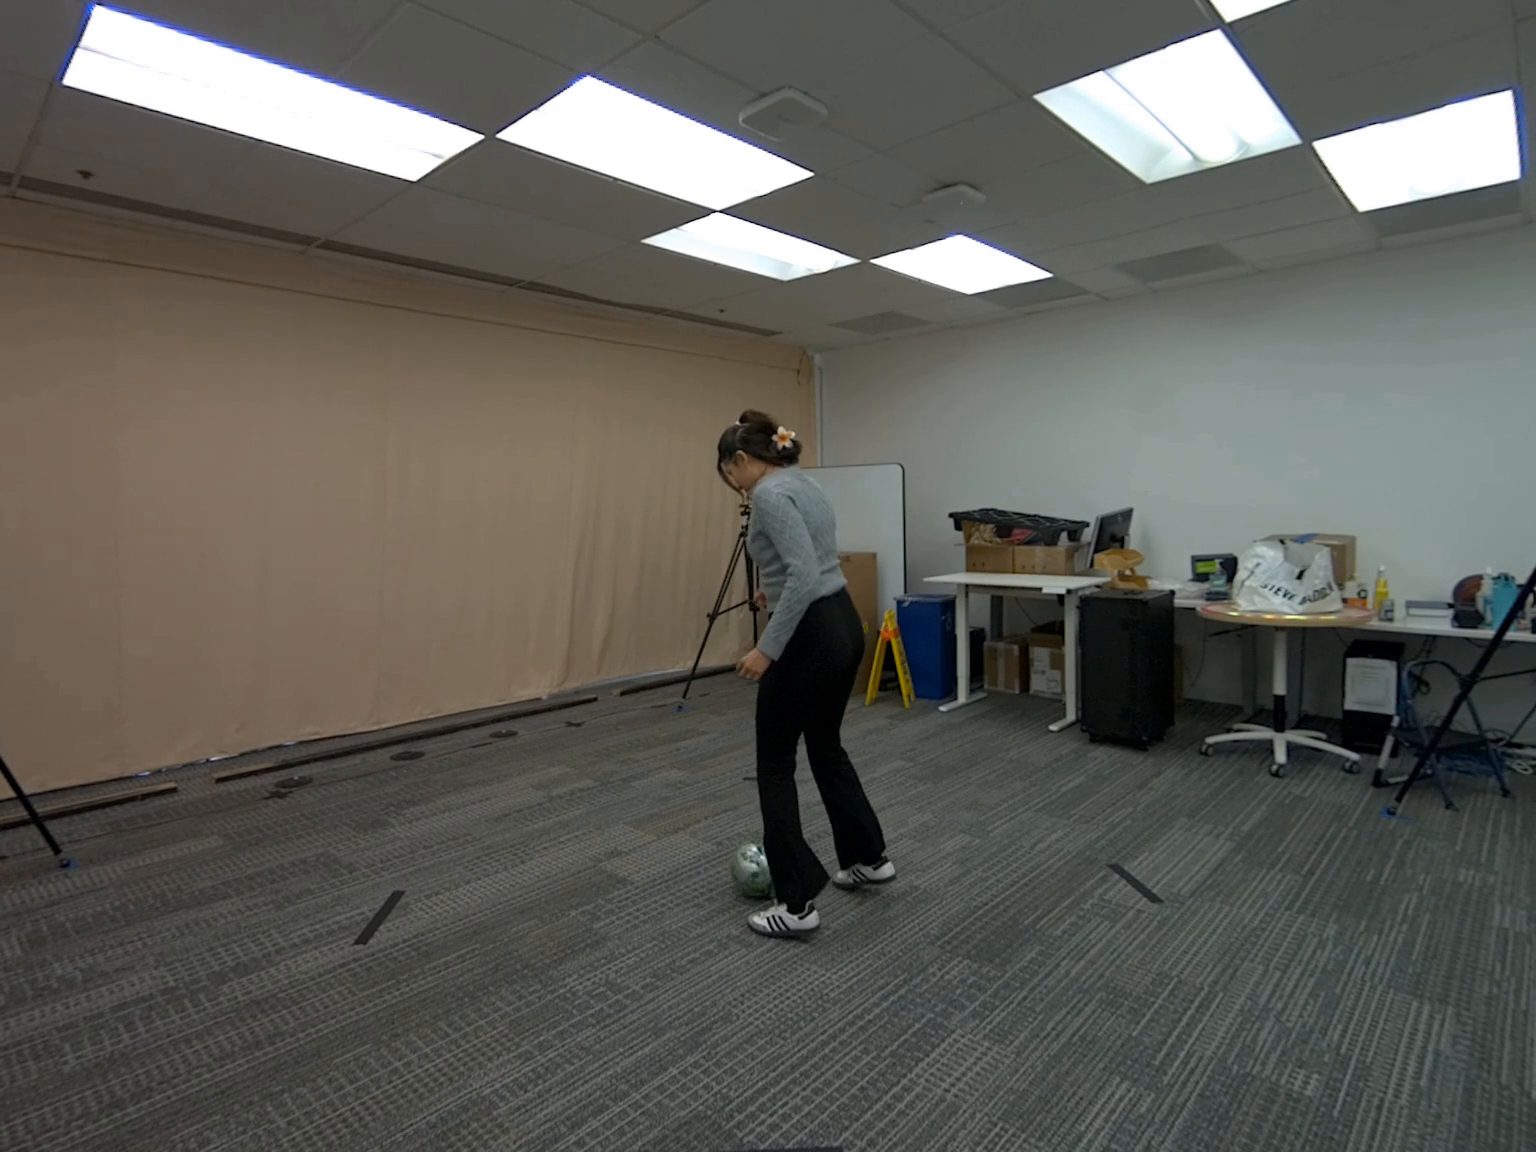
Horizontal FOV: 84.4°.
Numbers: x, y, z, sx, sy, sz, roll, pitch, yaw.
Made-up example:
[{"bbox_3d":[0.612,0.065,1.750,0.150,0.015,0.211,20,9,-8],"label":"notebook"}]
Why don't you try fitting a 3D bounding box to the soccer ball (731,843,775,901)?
[{"bbox_3d":[-0.036,1.042,2.995,0.187,0.187,0.188,-1,4,-2],"label":"soccer ball"}]
